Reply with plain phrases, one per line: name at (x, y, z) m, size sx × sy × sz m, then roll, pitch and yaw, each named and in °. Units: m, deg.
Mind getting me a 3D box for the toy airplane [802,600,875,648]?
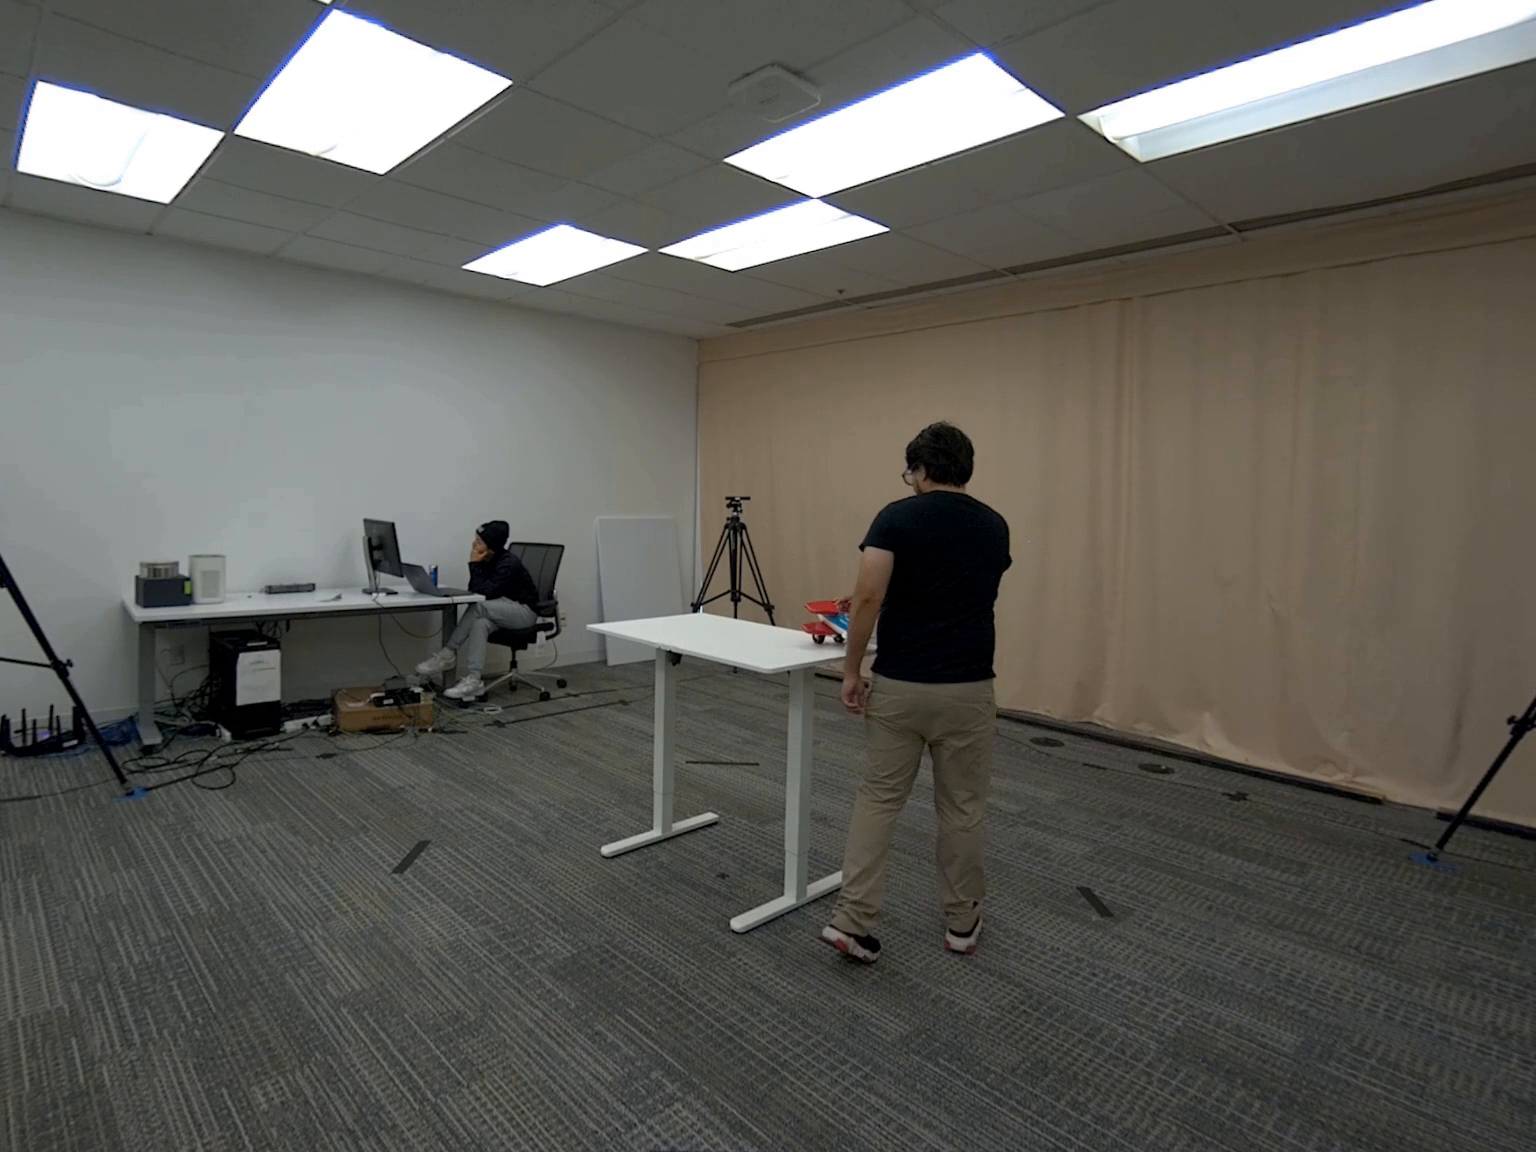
toy airplane at (0.267, 0.173, 2.947) m, size 0.265 × 0.156 × 0.246 m, roll 5°, pitch 8°, yaw 37°
